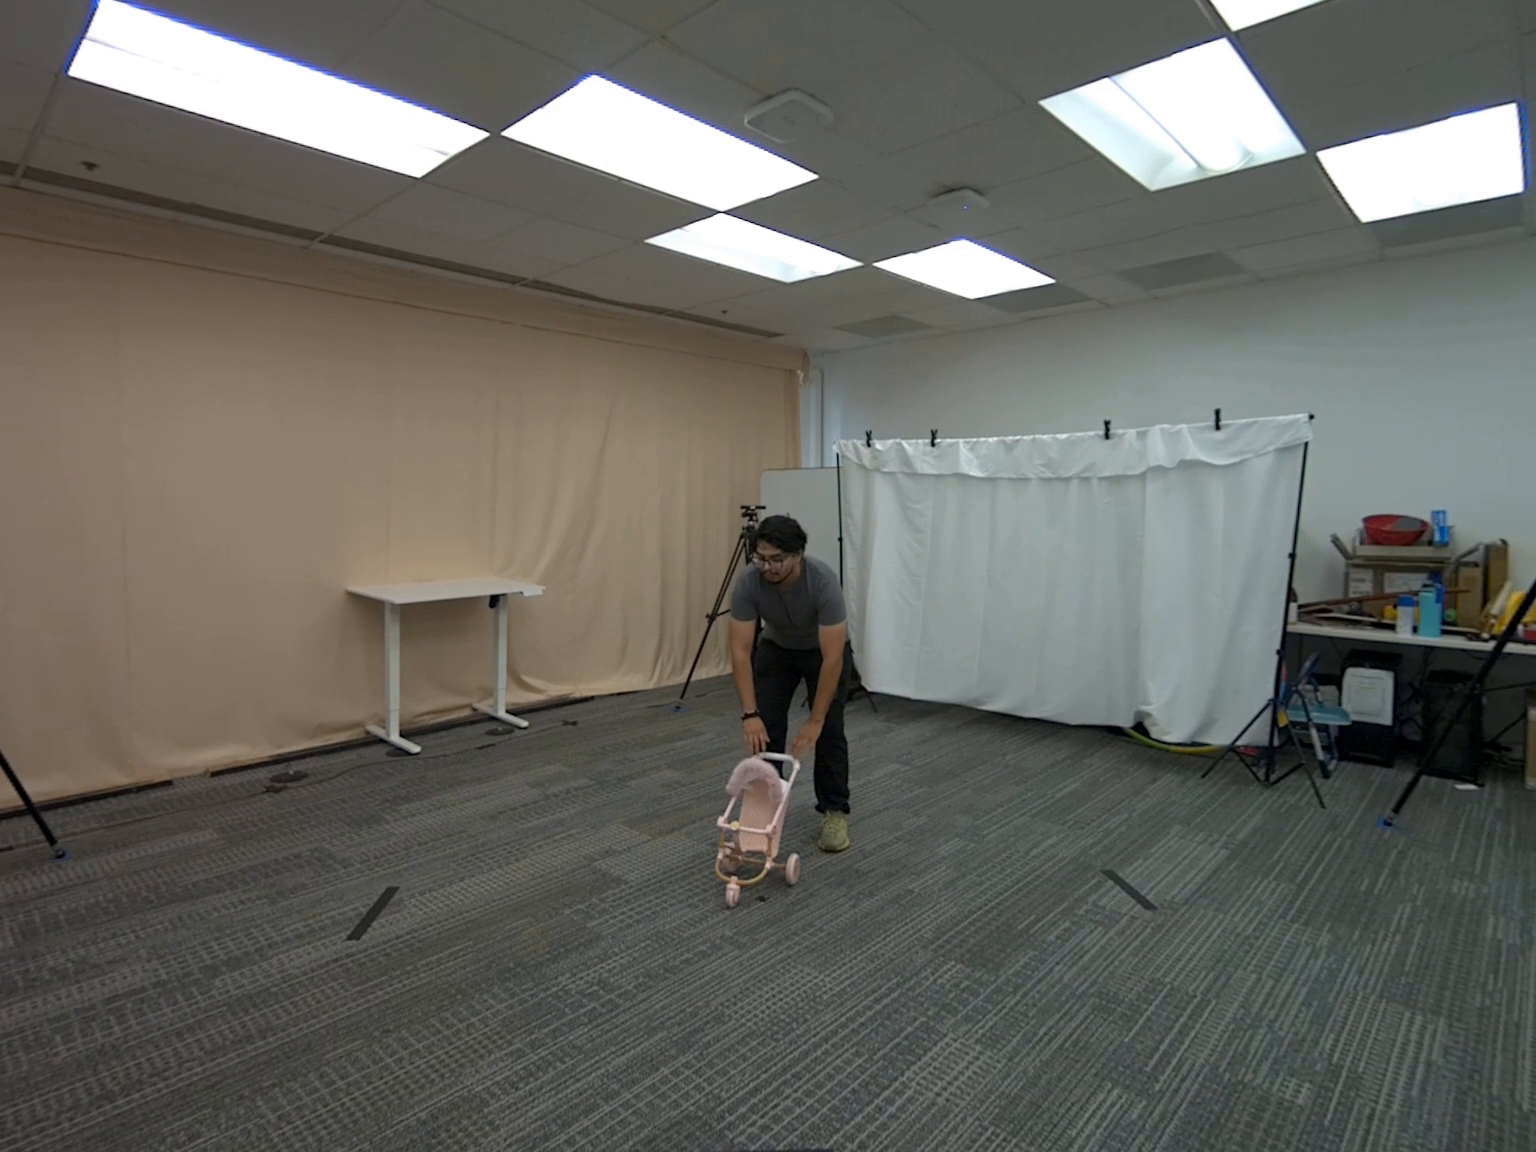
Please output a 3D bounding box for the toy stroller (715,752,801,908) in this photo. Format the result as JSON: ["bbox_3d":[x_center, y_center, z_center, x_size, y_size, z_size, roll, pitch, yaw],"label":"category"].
[{"bbox_3d":[-0.052,0.913,3.084,0.289,0.538,0.330,1,-13,29],"label":"toy stroller"}]
